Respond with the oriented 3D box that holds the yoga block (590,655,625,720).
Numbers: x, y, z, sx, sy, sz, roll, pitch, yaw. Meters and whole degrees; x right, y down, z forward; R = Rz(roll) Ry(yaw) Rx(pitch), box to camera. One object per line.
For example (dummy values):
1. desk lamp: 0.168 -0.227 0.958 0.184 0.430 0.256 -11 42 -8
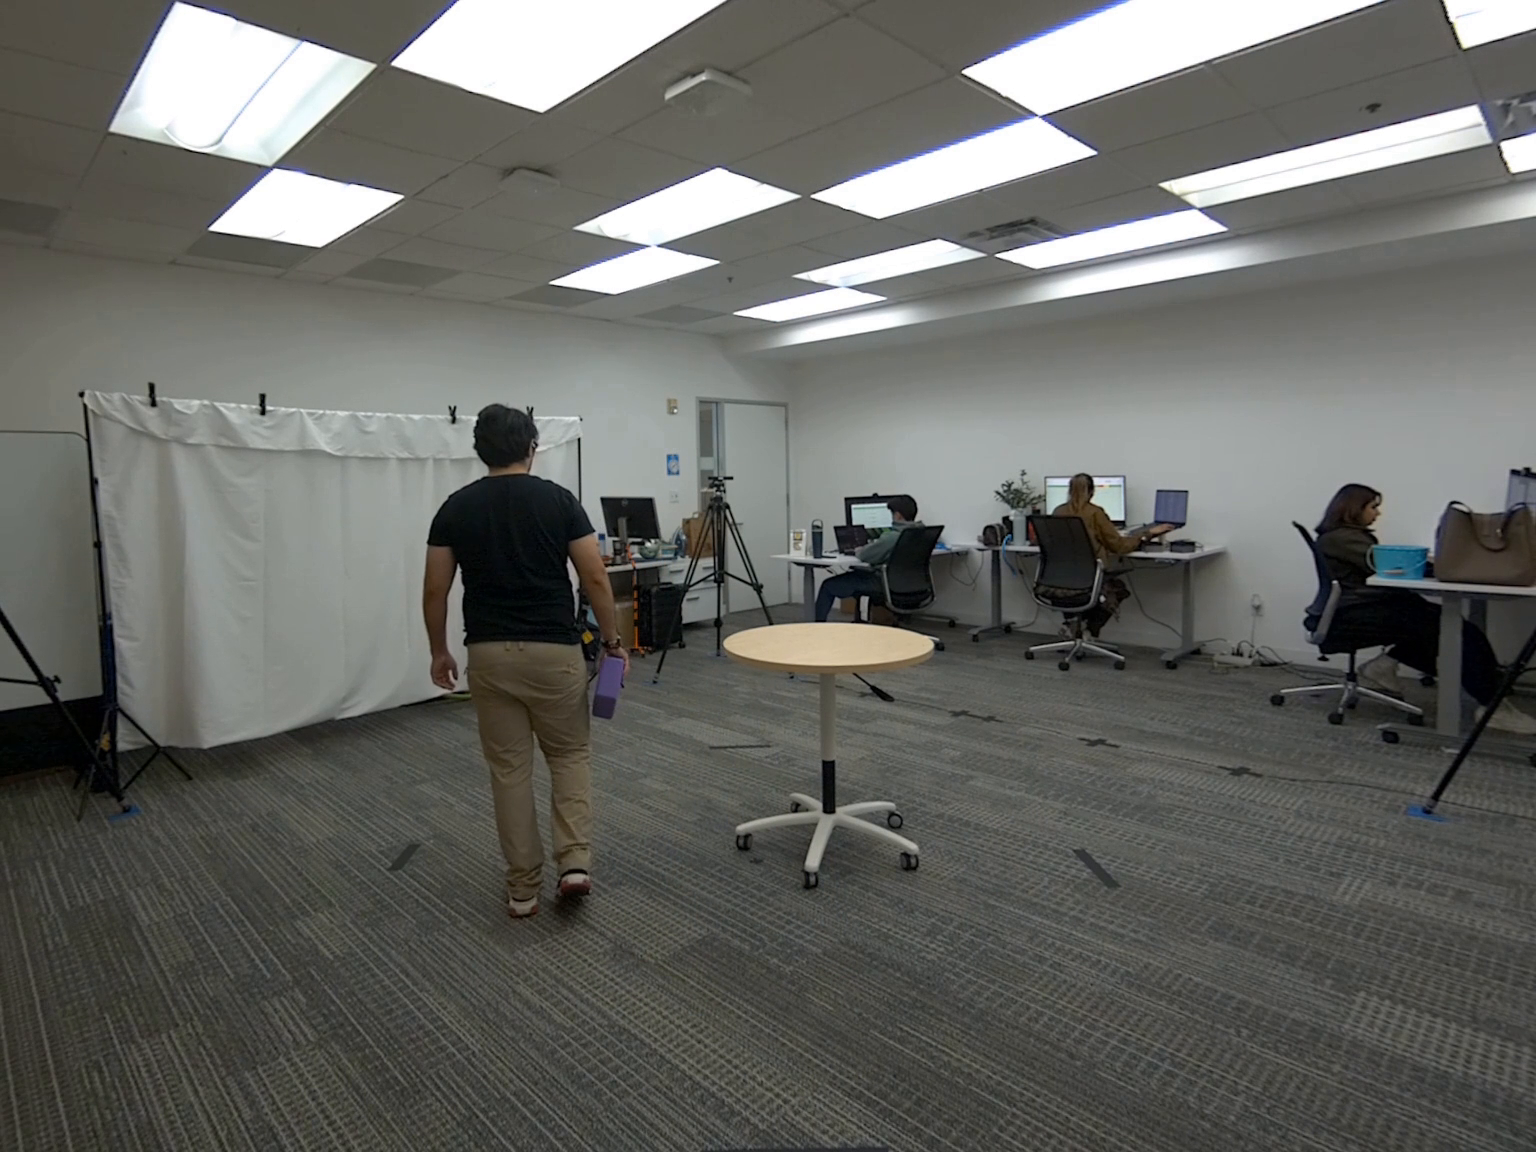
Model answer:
1. yoga block: -0.550 0.386 2.951 0.076 0.152 0.226 11 -30 -8
